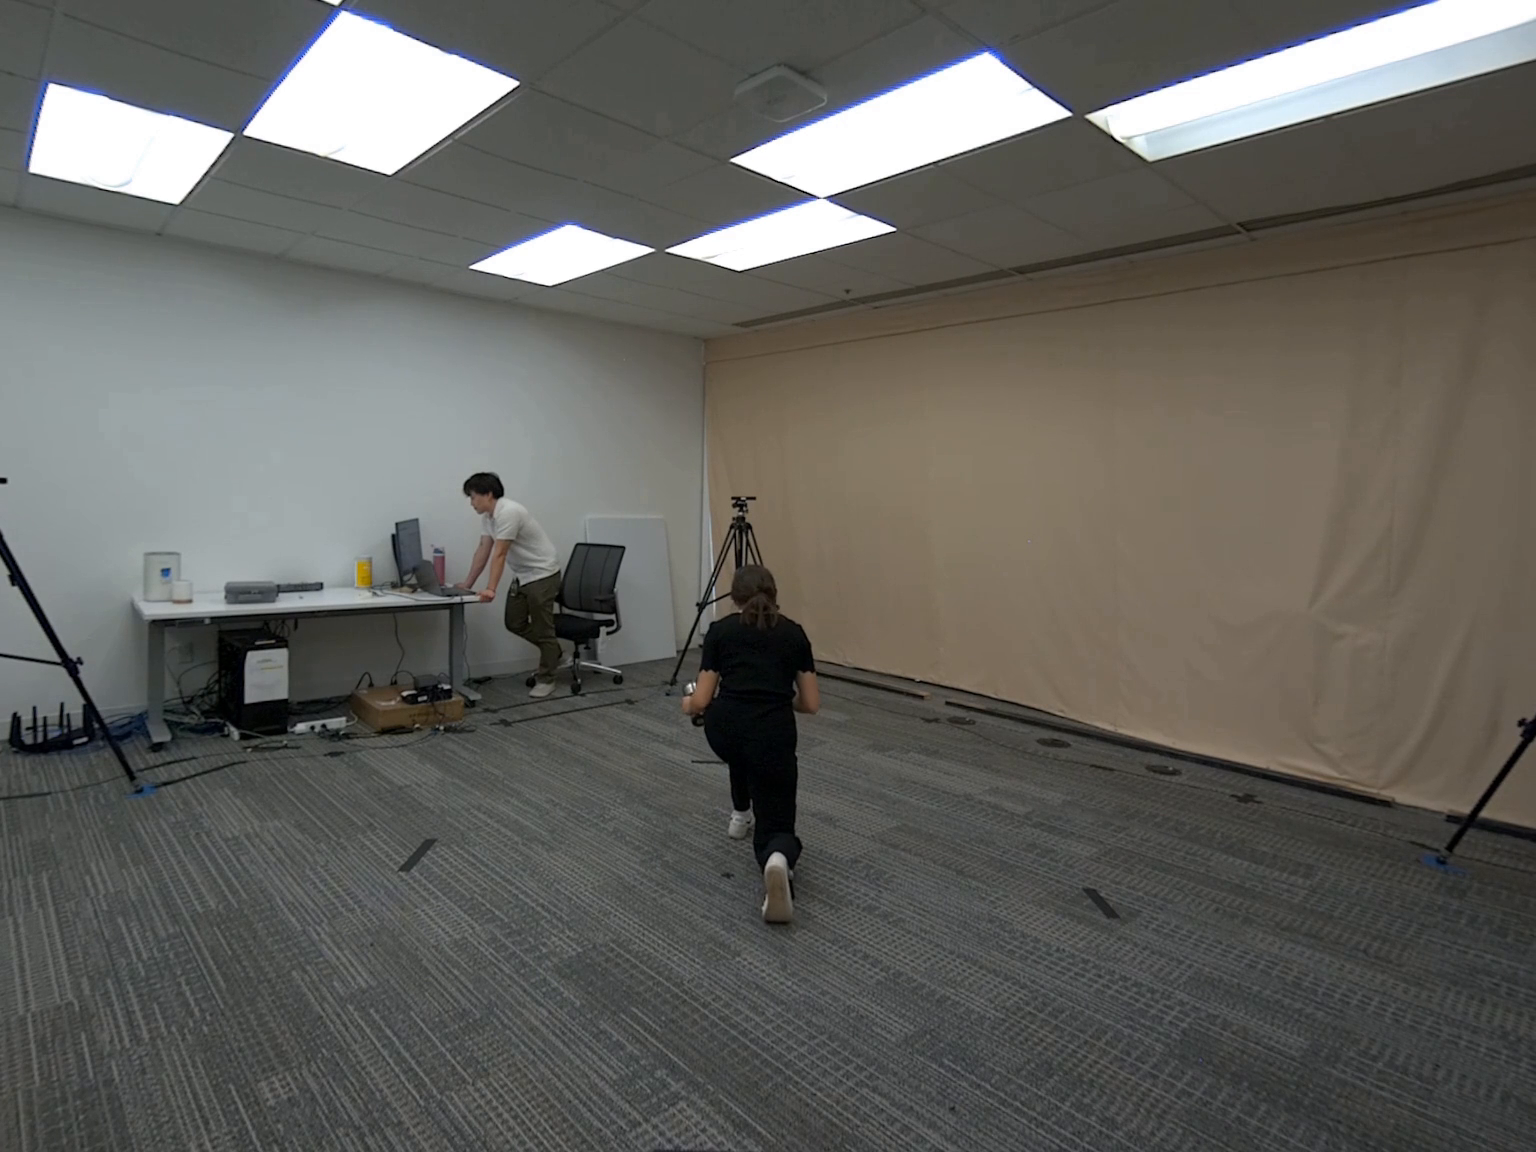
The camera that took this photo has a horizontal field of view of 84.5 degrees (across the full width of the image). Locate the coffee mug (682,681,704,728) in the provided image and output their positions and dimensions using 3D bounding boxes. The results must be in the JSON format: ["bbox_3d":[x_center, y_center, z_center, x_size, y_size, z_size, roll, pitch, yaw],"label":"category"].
[{"bbox_3d":[-0.289,0.542,3.575,0.118,0.088,0.209,45,12,-39],"label":"coffee mug"}]
